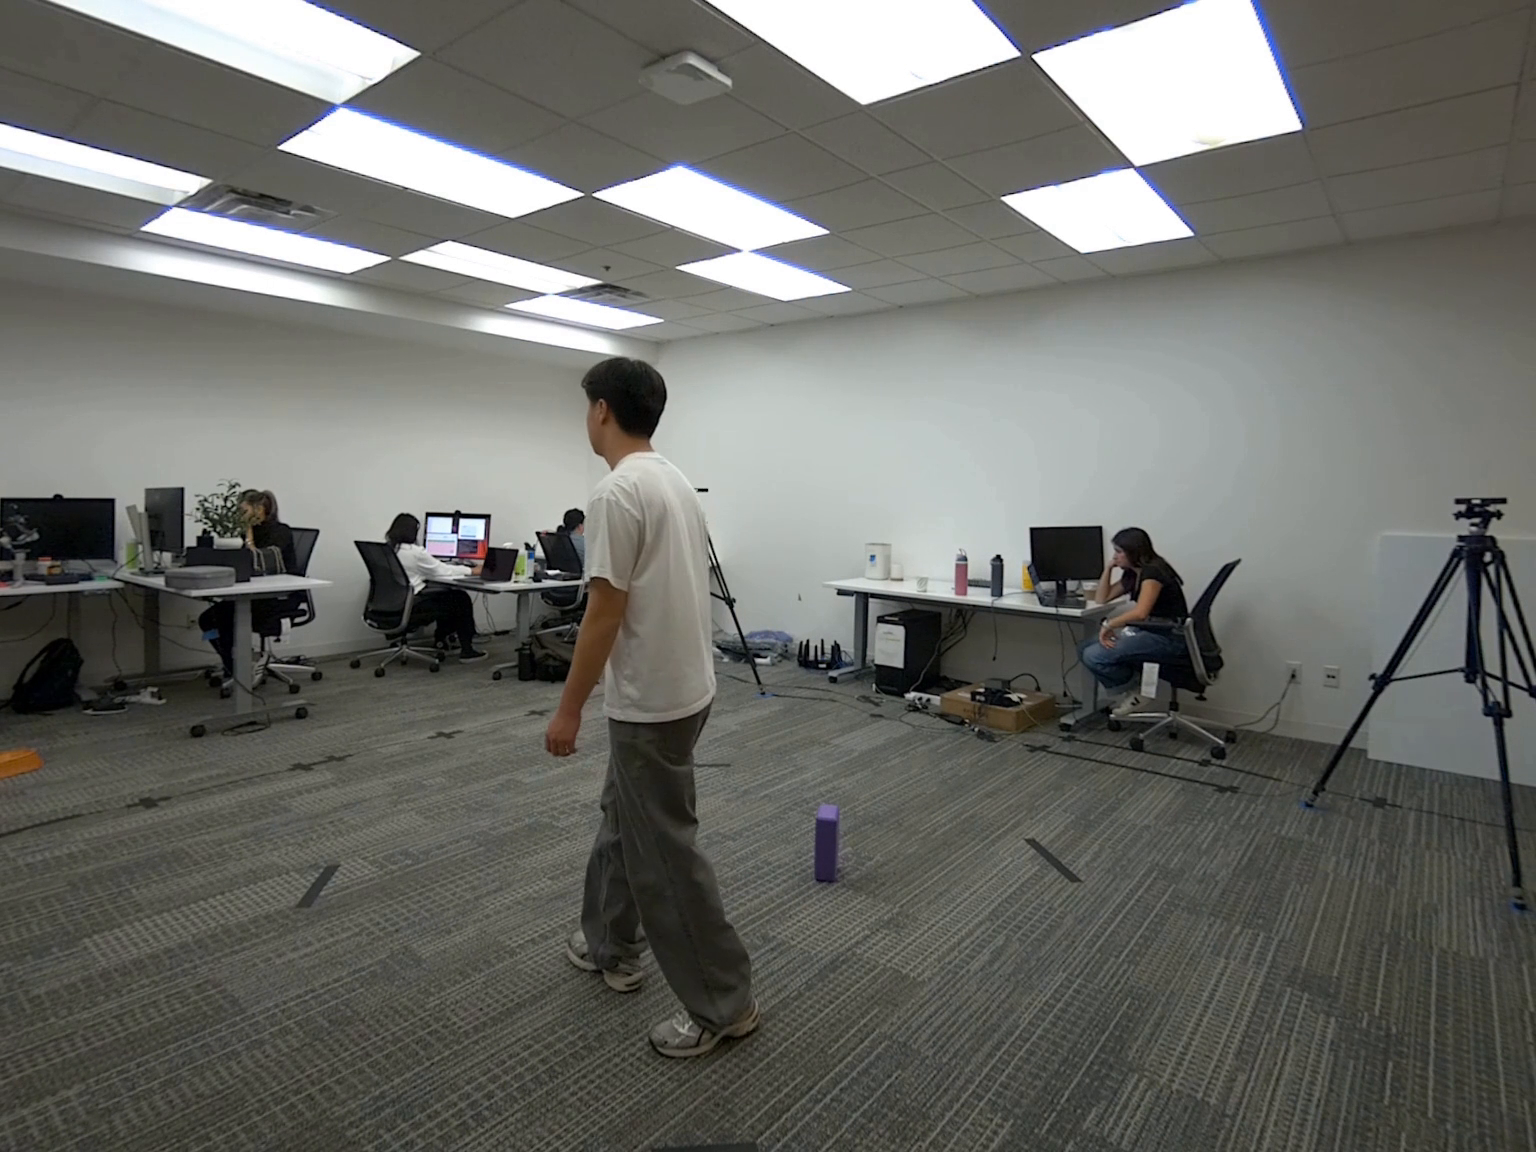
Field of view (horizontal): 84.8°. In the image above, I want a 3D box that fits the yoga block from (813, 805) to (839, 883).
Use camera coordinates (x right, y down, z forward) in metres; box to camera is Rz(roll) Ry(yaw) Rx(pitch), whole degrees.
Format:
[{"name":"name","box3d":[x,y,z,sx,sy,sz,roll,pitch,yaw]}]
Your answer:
[{"name":"yoga block","box3d":[0.219,0.959,3.095,0.077,0.228,0.148,2,4,10]}]
